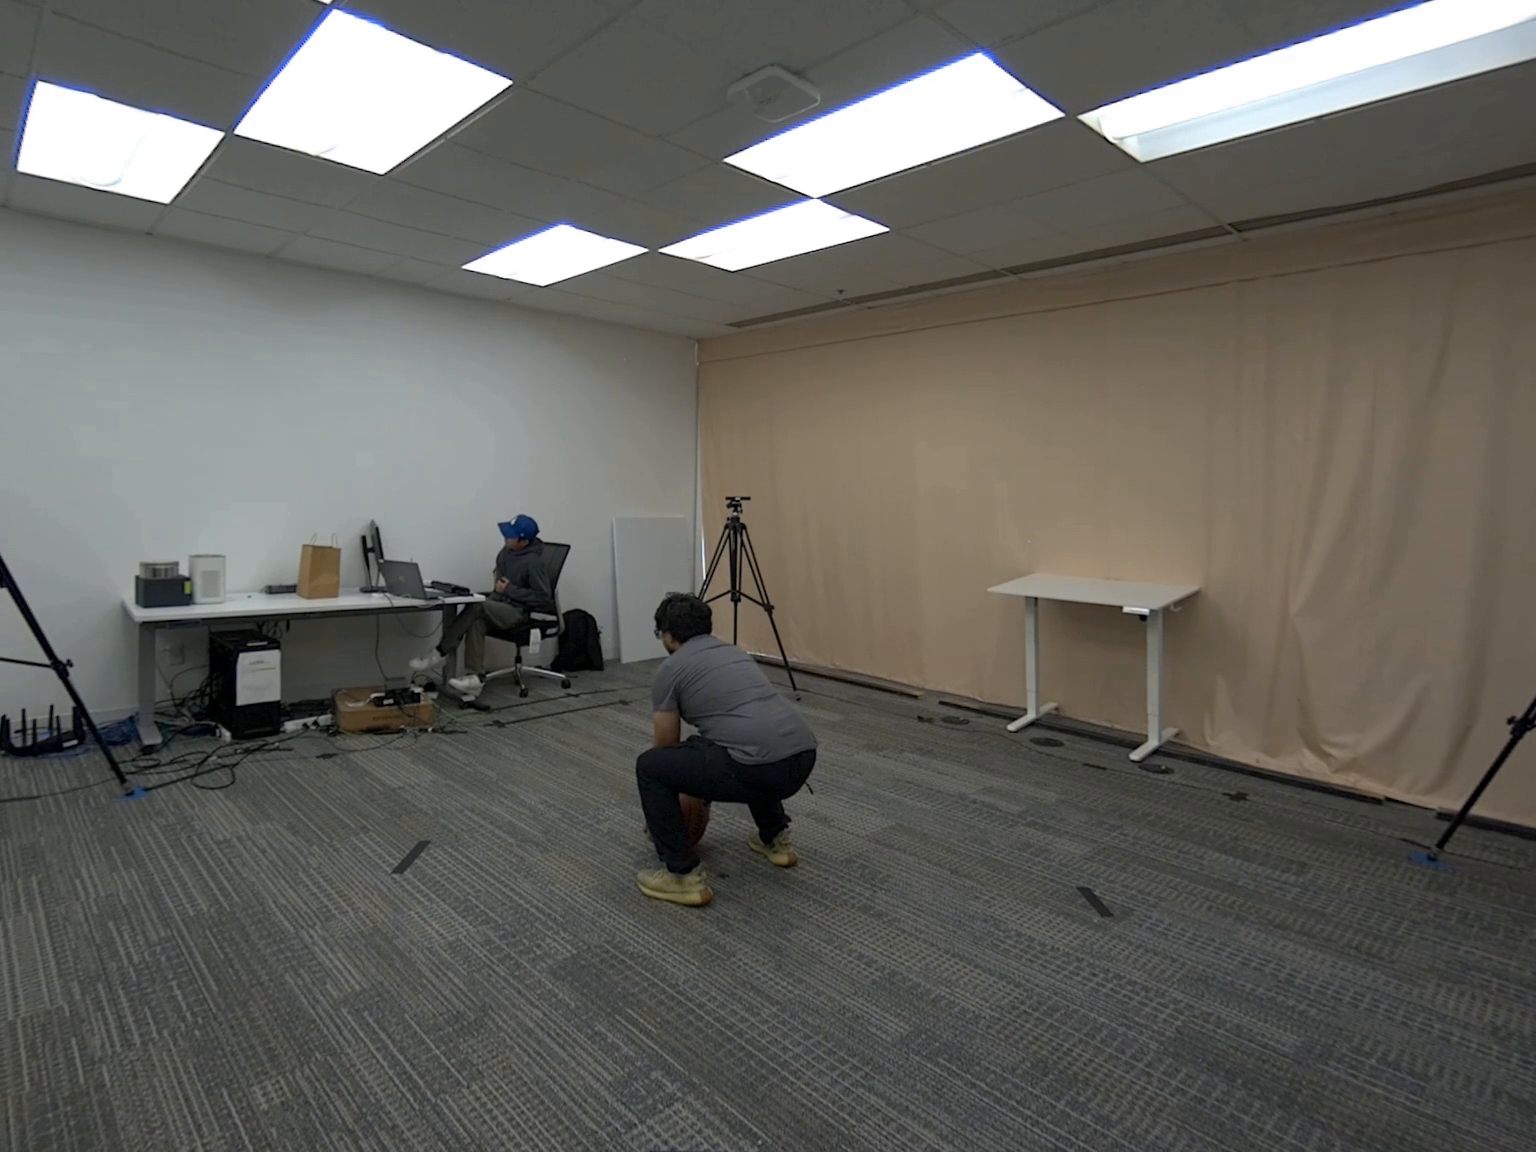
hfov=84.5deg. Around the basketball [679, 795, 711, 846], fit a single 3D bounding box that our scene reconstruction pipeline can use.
[{"bbox_3d":[-0.360,0.961,3.323,0.236,0.235,0.237,1,4,-1],"label":"basketball"}]
